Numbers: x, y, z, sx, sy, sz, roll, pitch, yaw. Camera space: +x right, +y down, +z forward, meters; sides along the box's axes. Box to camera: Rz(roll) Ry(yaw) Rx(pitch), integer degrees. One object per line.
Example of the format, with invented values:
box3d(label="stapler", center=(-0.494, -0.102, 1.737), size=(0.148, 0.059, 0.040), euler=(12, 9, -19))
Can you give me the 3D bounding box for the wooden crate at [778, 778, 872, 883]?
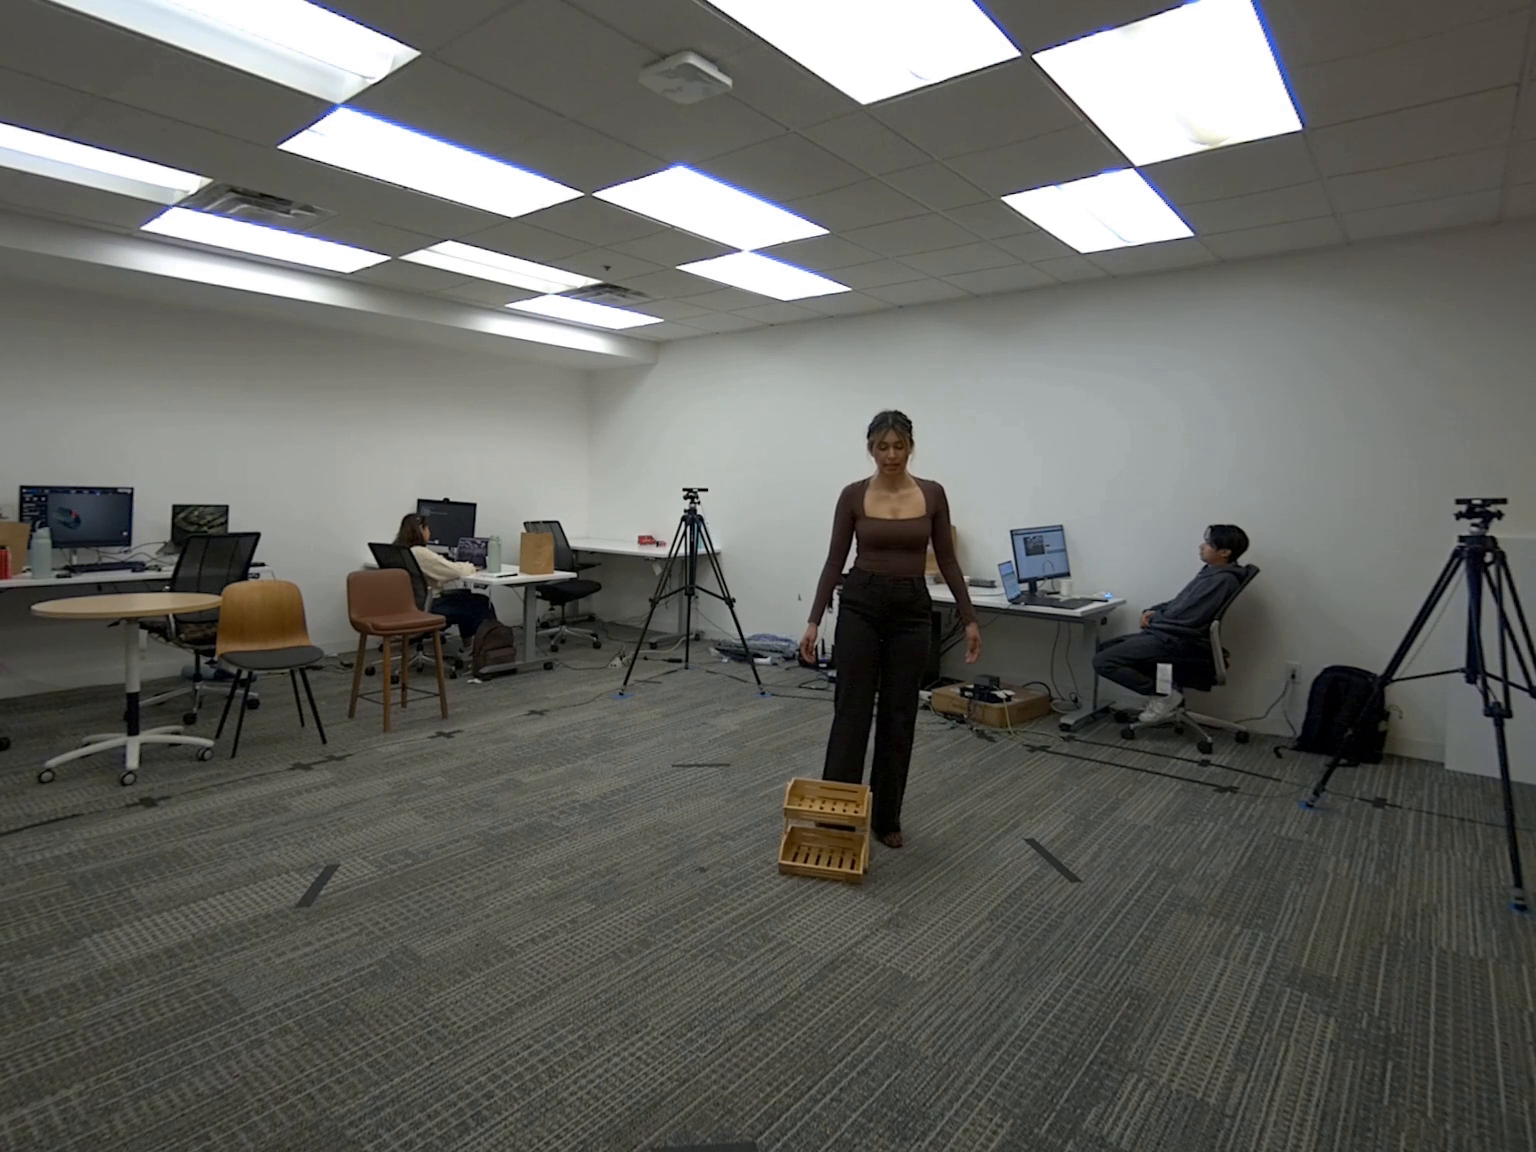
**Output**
box3d(label="wooden crate", center=(0.207, 0.940, 3.173), size=(0.329, 0.272, 0.299), euler=(2, 4, 12))
